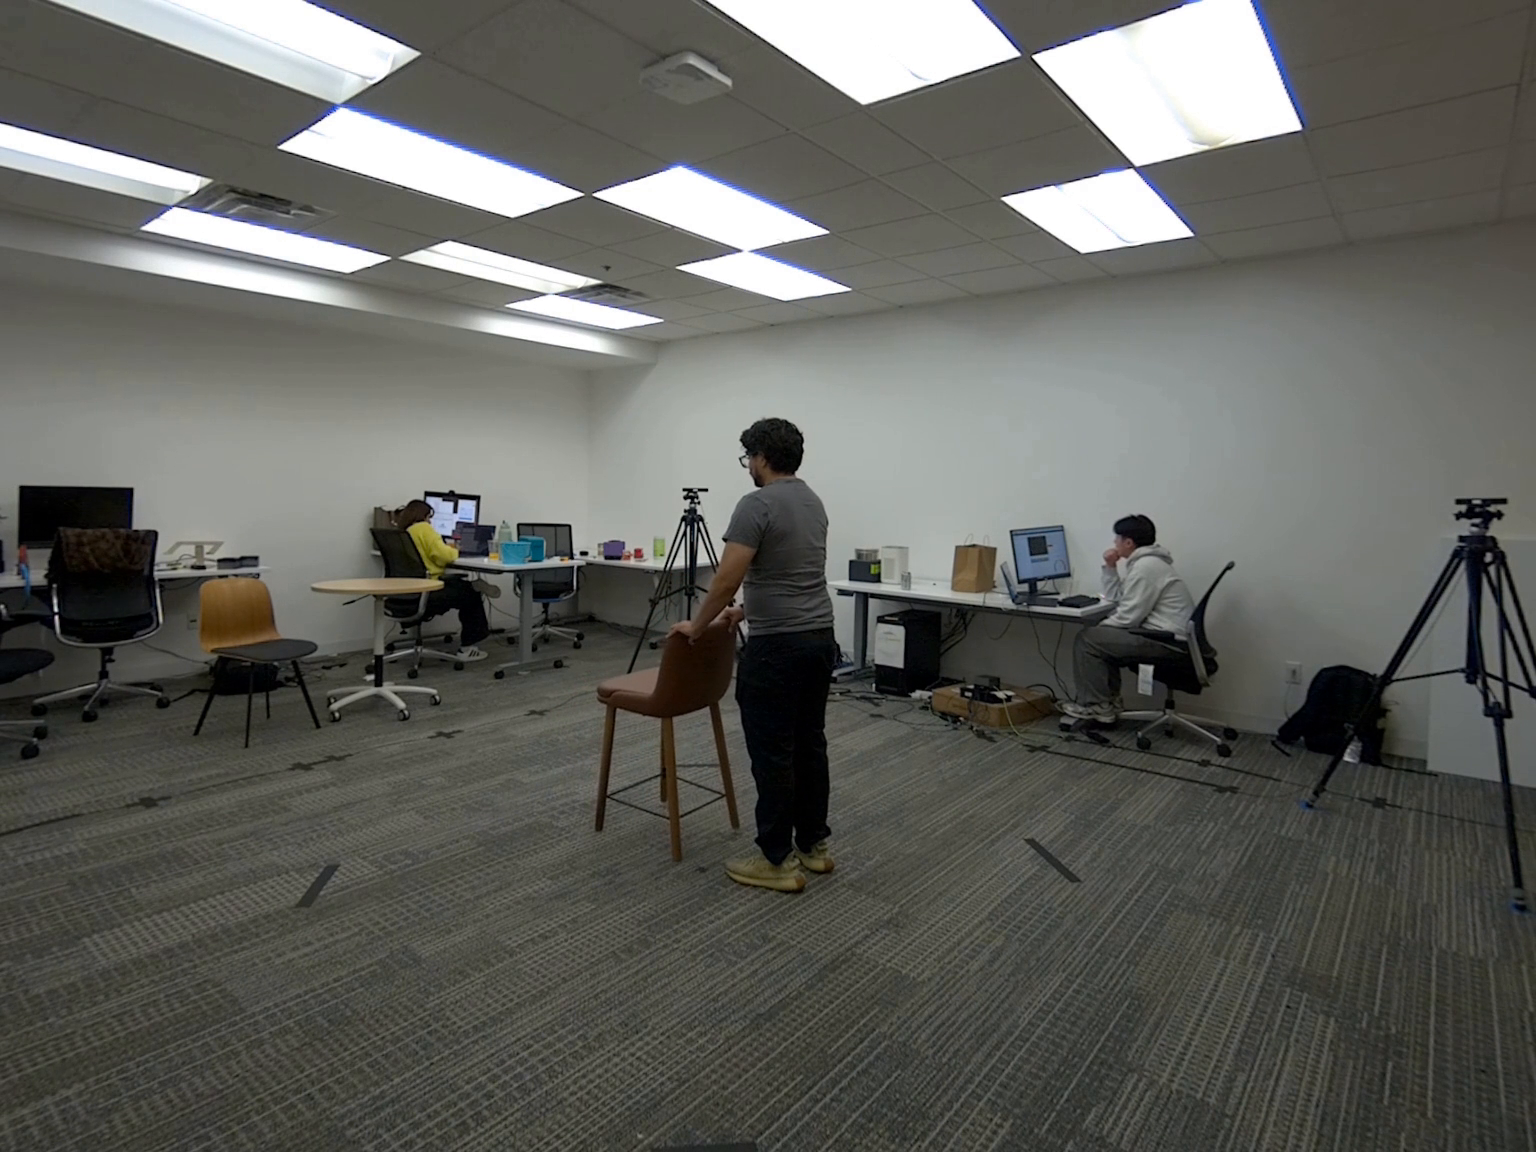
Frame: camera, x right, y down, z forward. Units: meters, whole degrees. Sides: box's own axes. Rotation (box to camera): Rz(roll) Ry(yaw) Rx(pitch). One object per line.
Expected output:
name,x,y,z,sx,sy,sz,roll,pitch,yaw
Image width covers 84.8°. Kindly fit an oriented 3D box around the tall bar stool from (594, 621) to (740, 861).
tall bar stool,-0.409,0.593,3.412,0.484,0.885,0.443,6,7,39
